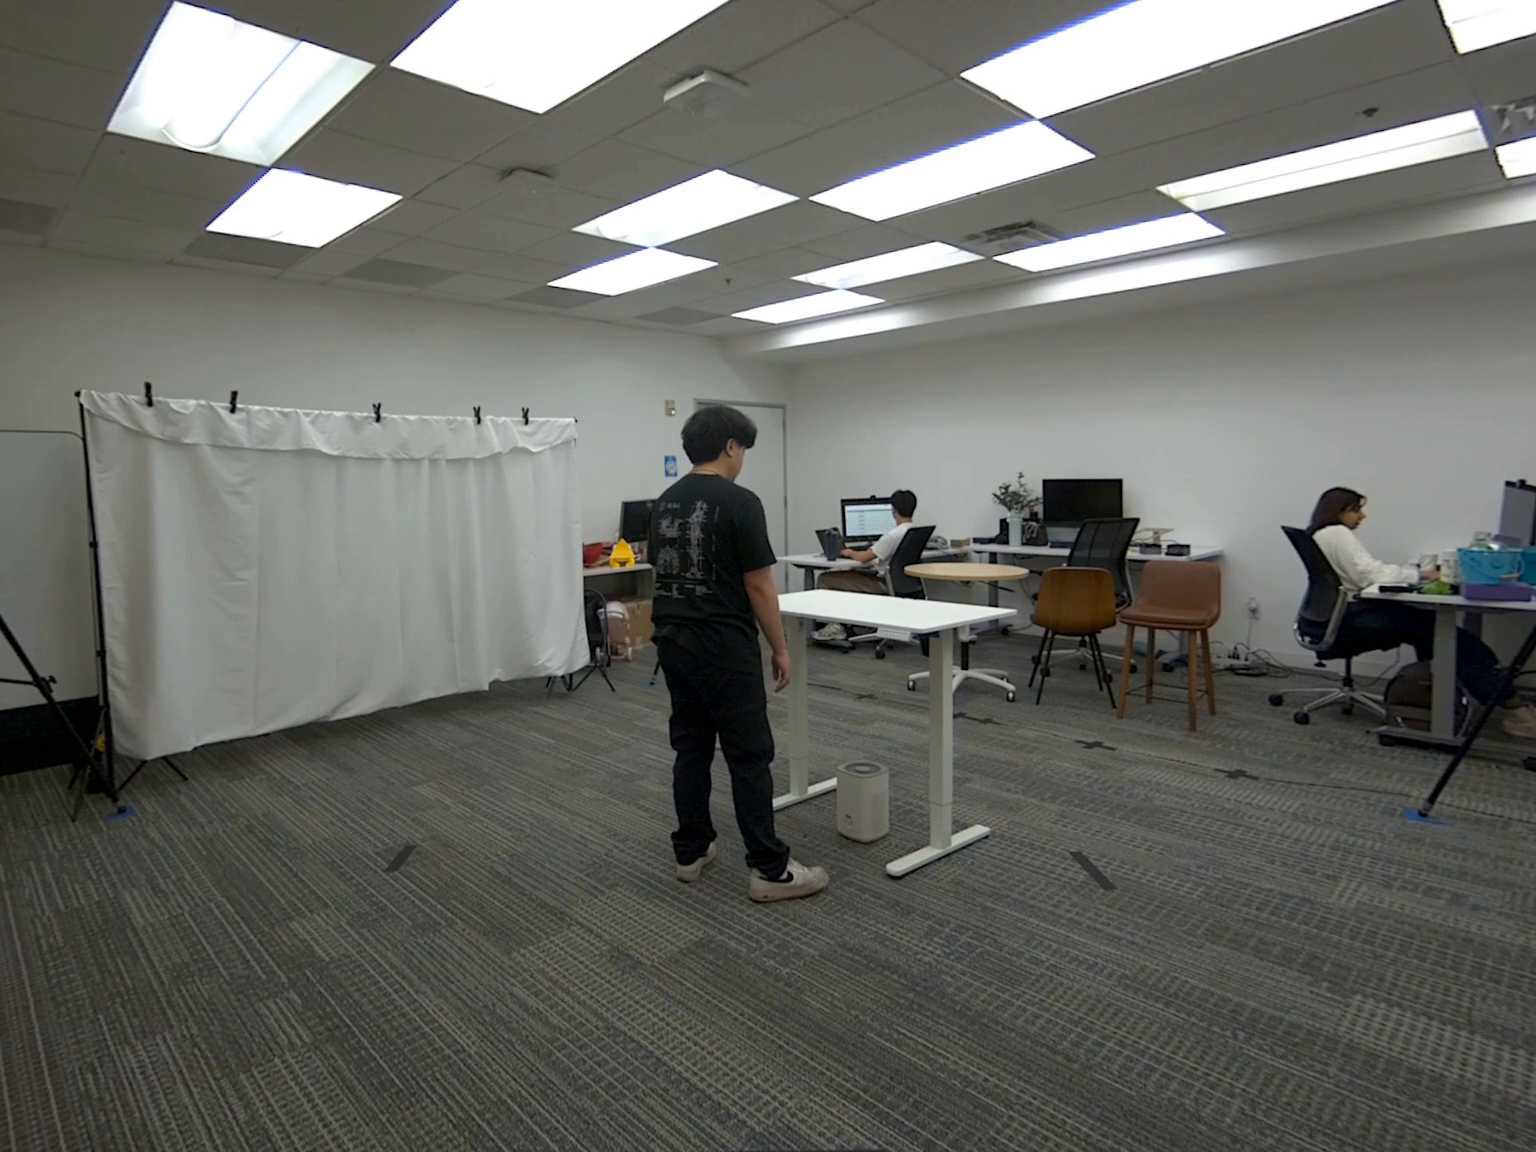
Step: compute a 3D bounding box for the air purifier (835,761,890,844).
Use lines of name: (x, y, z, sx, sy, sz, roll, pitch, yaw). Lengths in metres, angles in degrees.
air purifier: (0.369, 0.876, 3.328, 0.167, 0.264, 0.176, -4, 5, -42)
